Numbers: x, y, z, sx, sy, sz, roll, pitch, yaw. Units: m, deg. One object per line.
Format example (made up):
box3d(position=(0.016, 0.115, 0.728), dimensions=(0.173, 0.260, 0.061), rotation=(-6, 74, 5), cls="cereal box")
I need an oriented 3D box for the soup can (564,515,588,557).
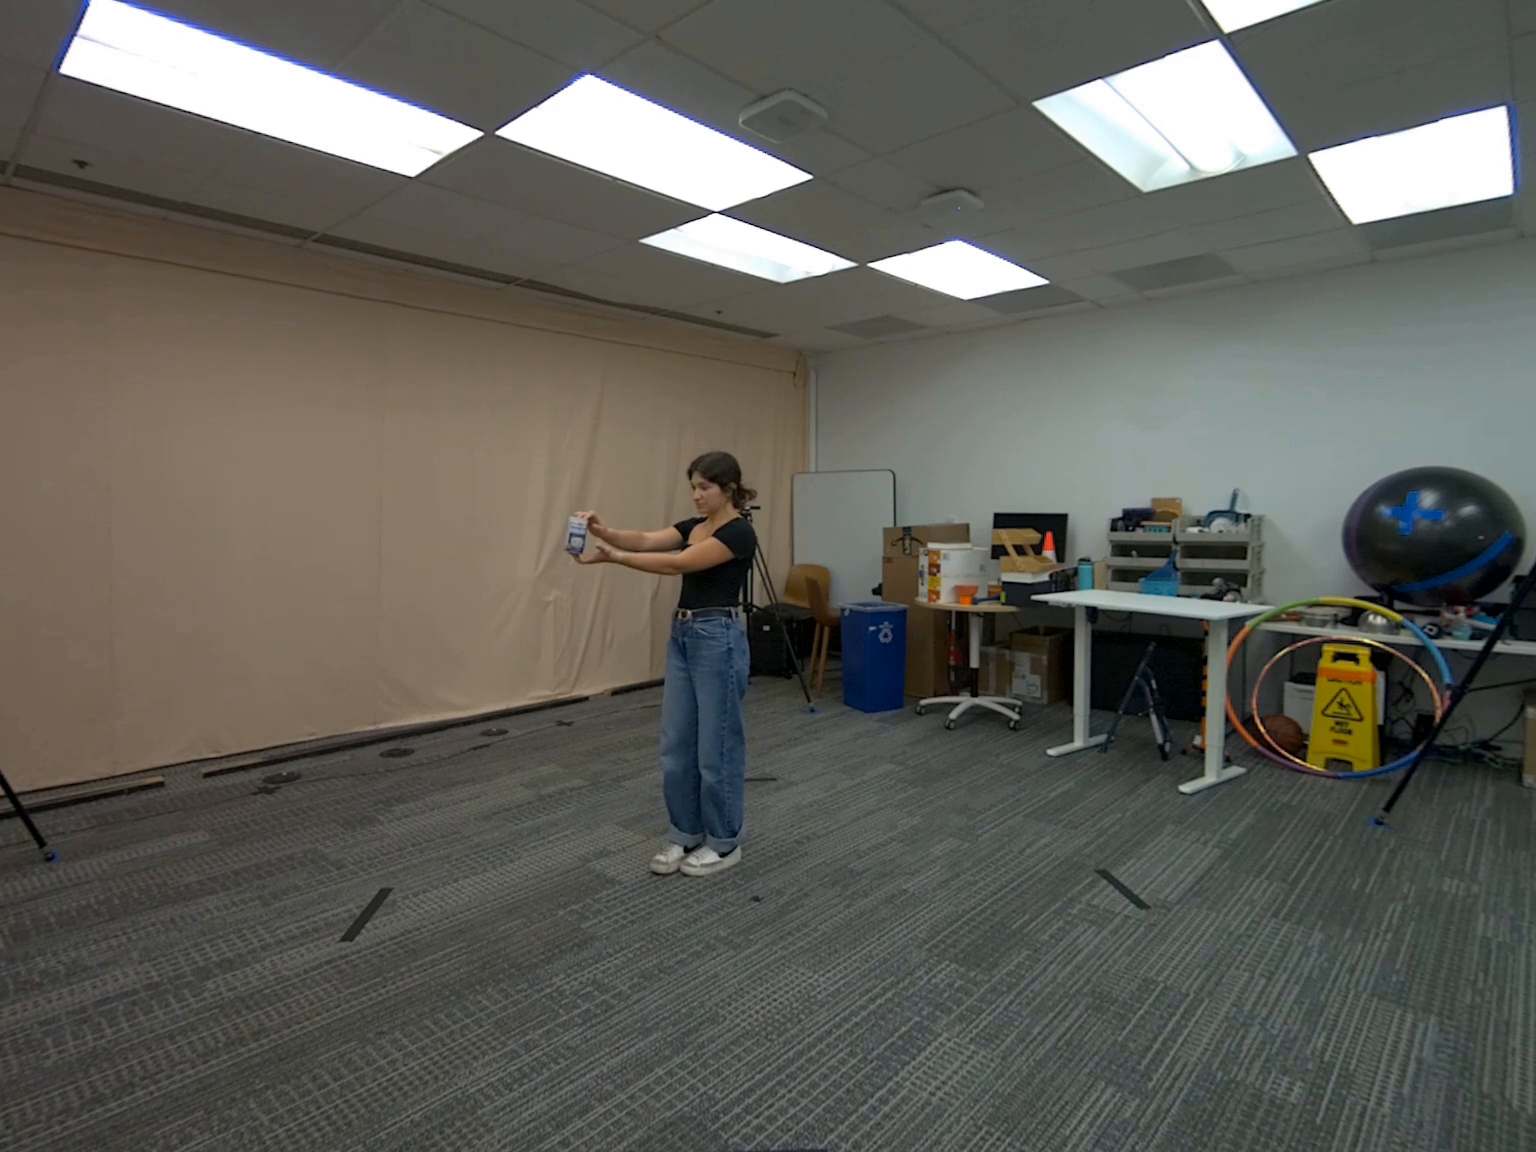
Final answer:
box3d(position=(-0.656, -0.139, 2.861), dimensions=(0.067, 0.121, 0.067), rotation=(9, 5, -3), cls="soup can")
